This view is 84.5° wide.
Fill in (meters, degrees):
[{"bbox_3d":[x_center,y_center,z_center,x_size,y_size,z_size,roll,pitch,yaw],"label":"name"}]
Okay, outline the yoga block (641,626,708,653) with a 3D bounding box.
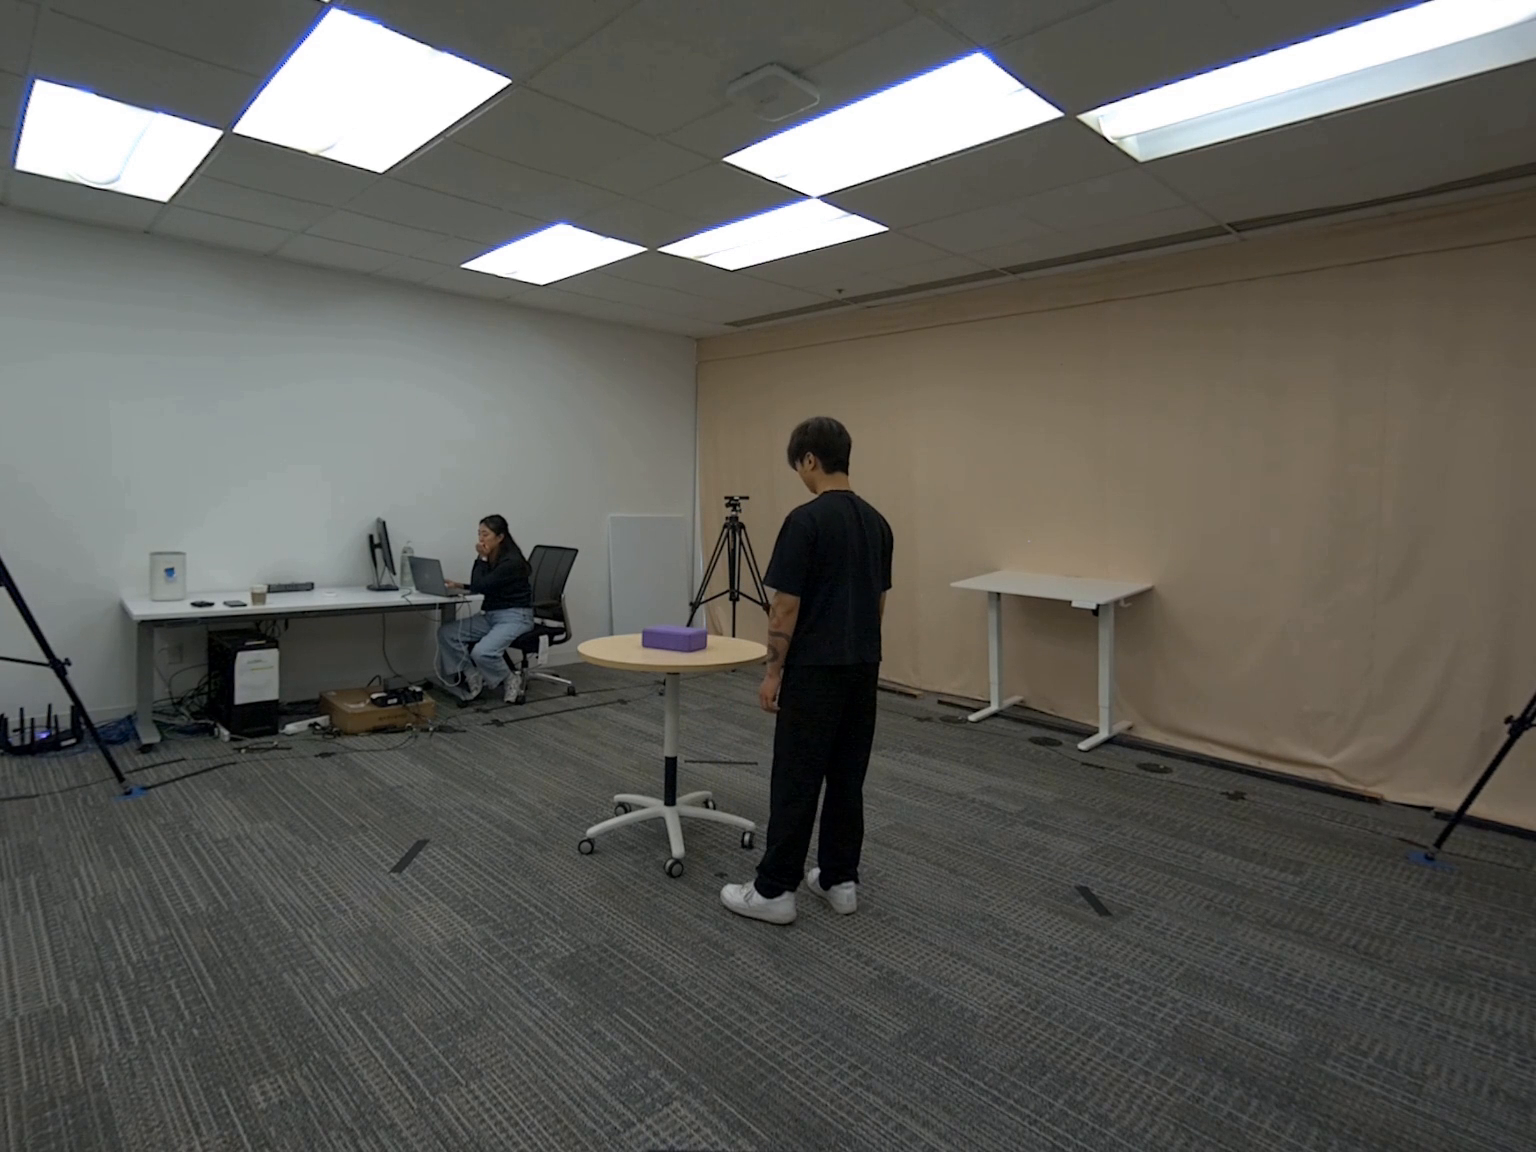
[{"bbox_3d":[-0.384,0.251,3.393,0.234,0.076,0.146,3,4,25],"label":"yoga block"}]
